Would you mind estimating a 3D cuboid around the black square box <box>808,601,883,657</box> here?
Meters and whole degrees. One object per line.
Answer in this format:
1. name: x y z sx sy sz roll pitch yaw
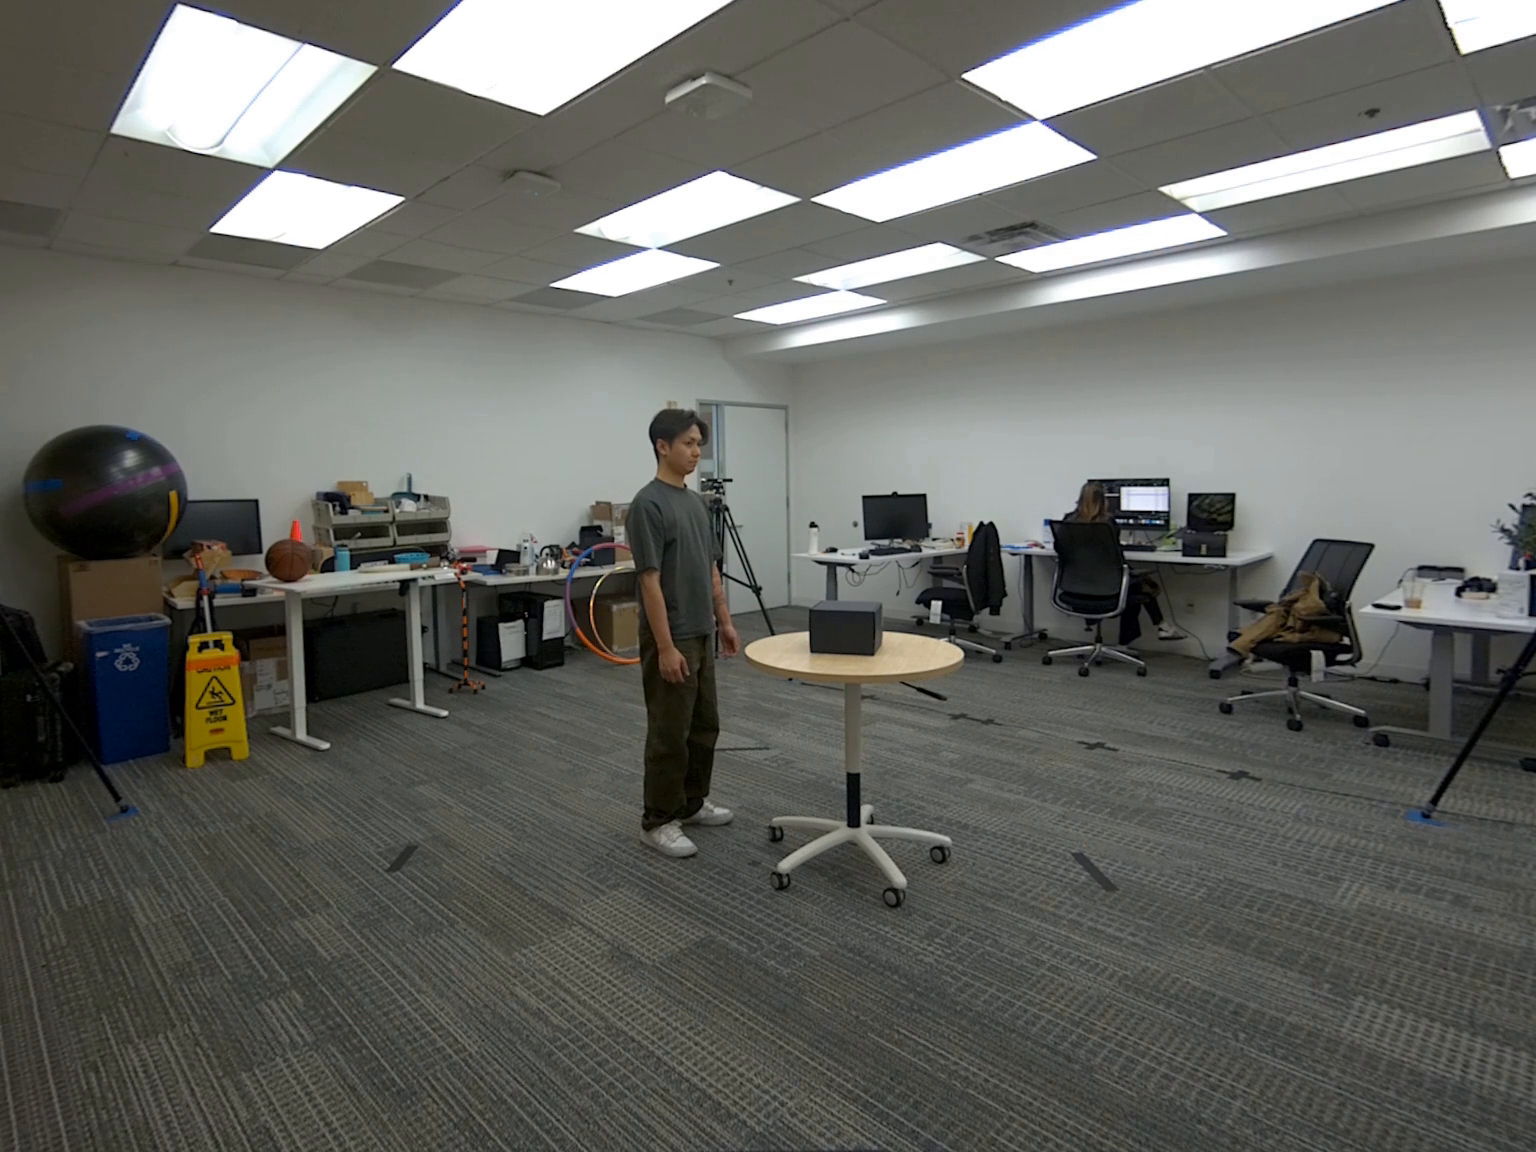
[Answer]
1. black square box: 0.282 0.177 3.055 0.232 0.155 0.214 2 7 16
